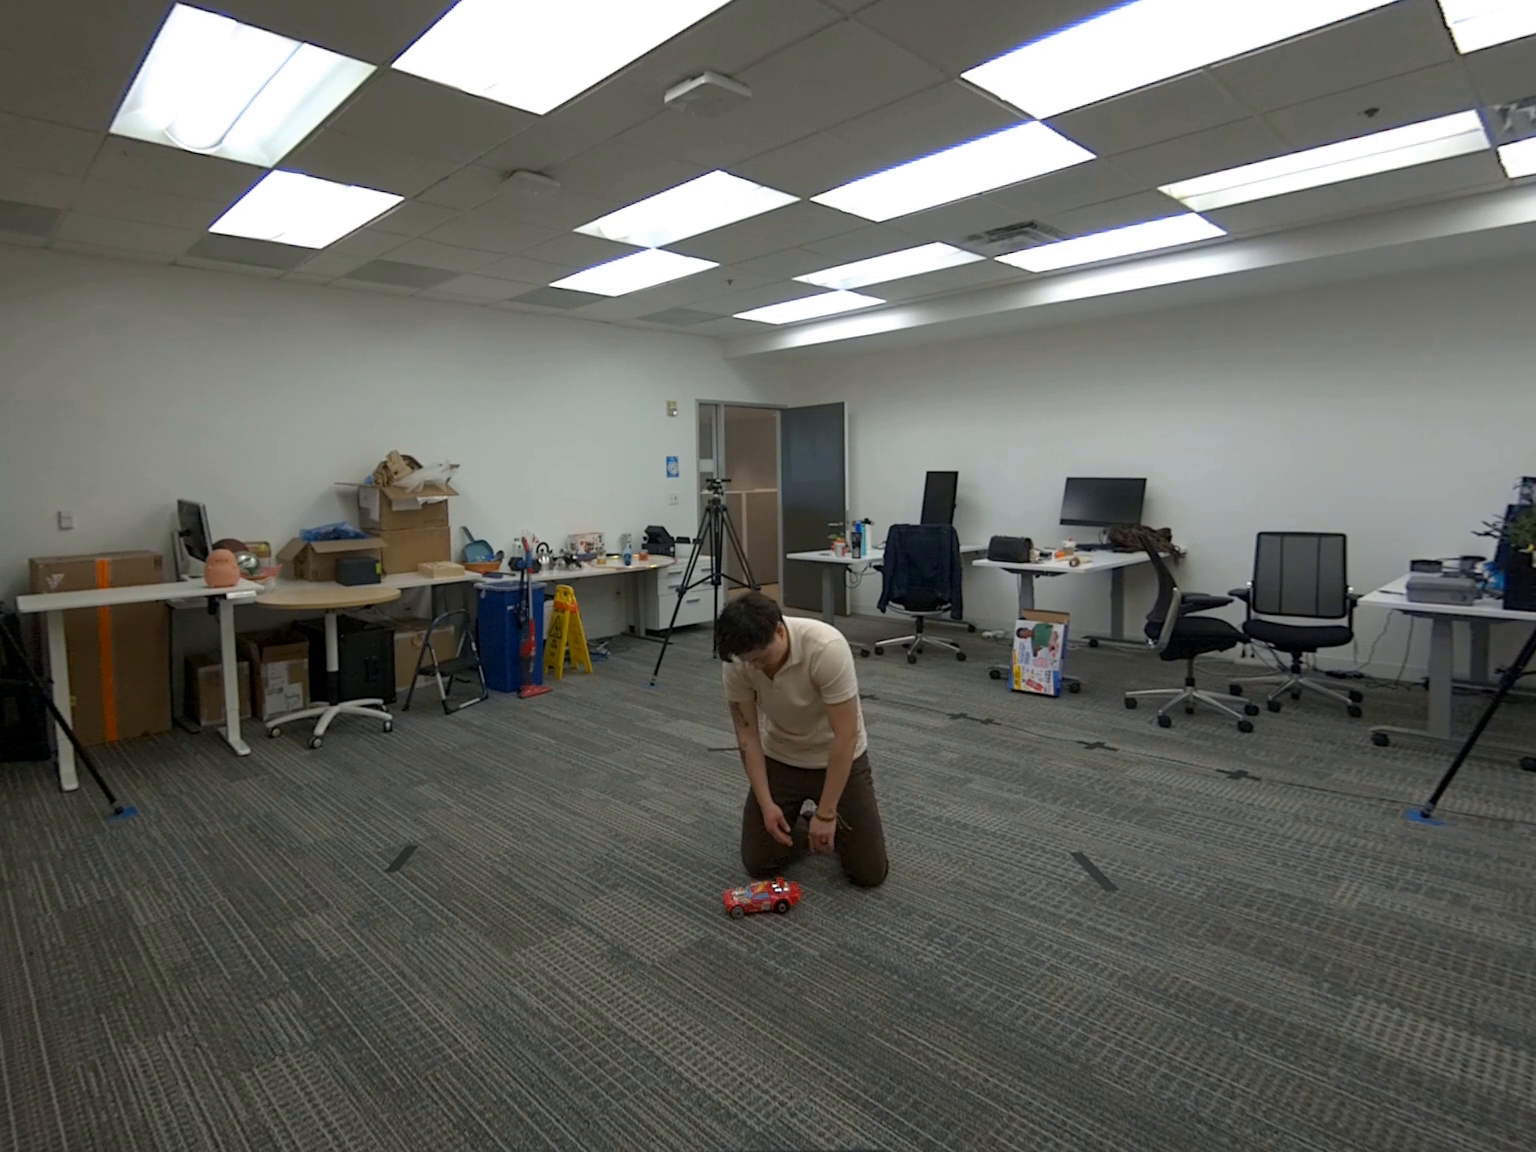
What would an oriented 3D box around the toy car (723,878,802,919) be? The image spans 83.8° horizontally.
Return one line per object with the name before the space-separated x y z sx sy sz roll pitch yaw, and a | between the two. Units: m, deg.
toy car | -0.013 1.055 2.780 0.253 0.082 0.132 -13 9 -8
